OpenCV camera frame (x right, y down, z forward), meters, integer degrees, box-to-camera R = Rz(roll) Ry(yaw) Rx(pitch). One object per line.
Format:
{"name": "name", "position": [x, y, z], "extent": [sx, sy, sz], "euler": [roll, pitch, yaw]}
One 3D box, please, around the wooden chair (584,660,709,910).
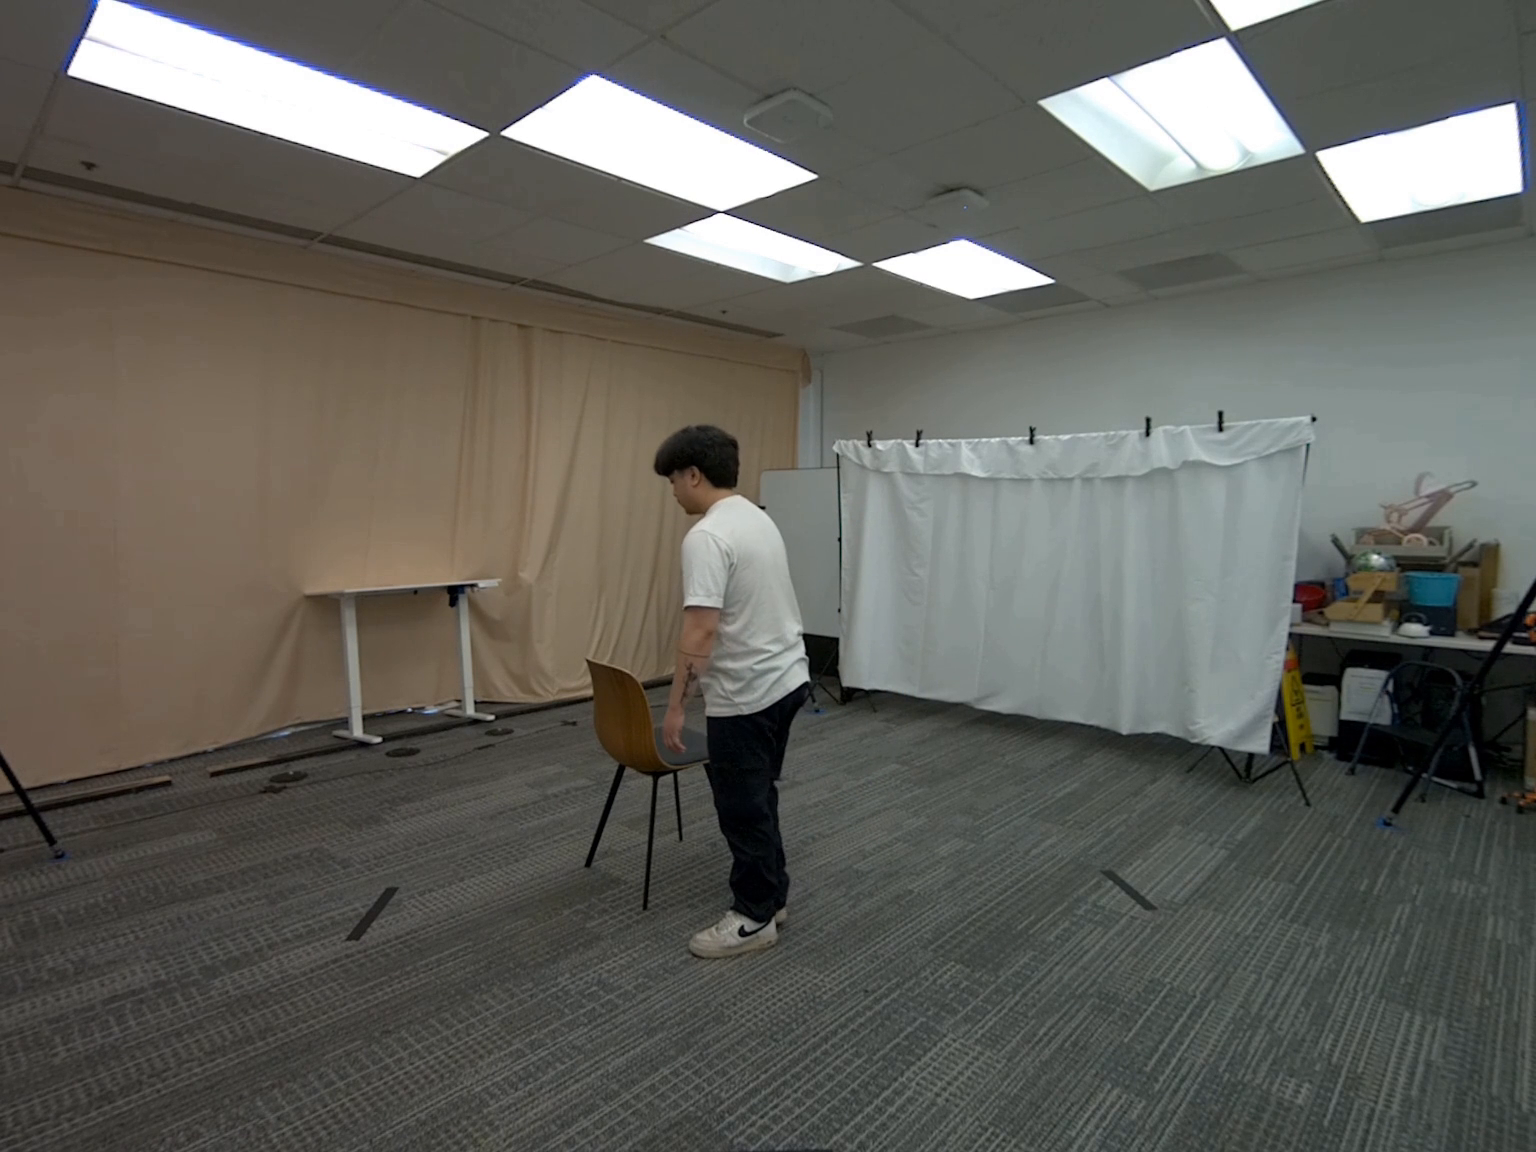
{"name": "wooden chair", "position": [-0.390, 0.704, 3.192], "extent": [0.508, 0.874, 0.493], "euler": [-8, 7, -38]}
